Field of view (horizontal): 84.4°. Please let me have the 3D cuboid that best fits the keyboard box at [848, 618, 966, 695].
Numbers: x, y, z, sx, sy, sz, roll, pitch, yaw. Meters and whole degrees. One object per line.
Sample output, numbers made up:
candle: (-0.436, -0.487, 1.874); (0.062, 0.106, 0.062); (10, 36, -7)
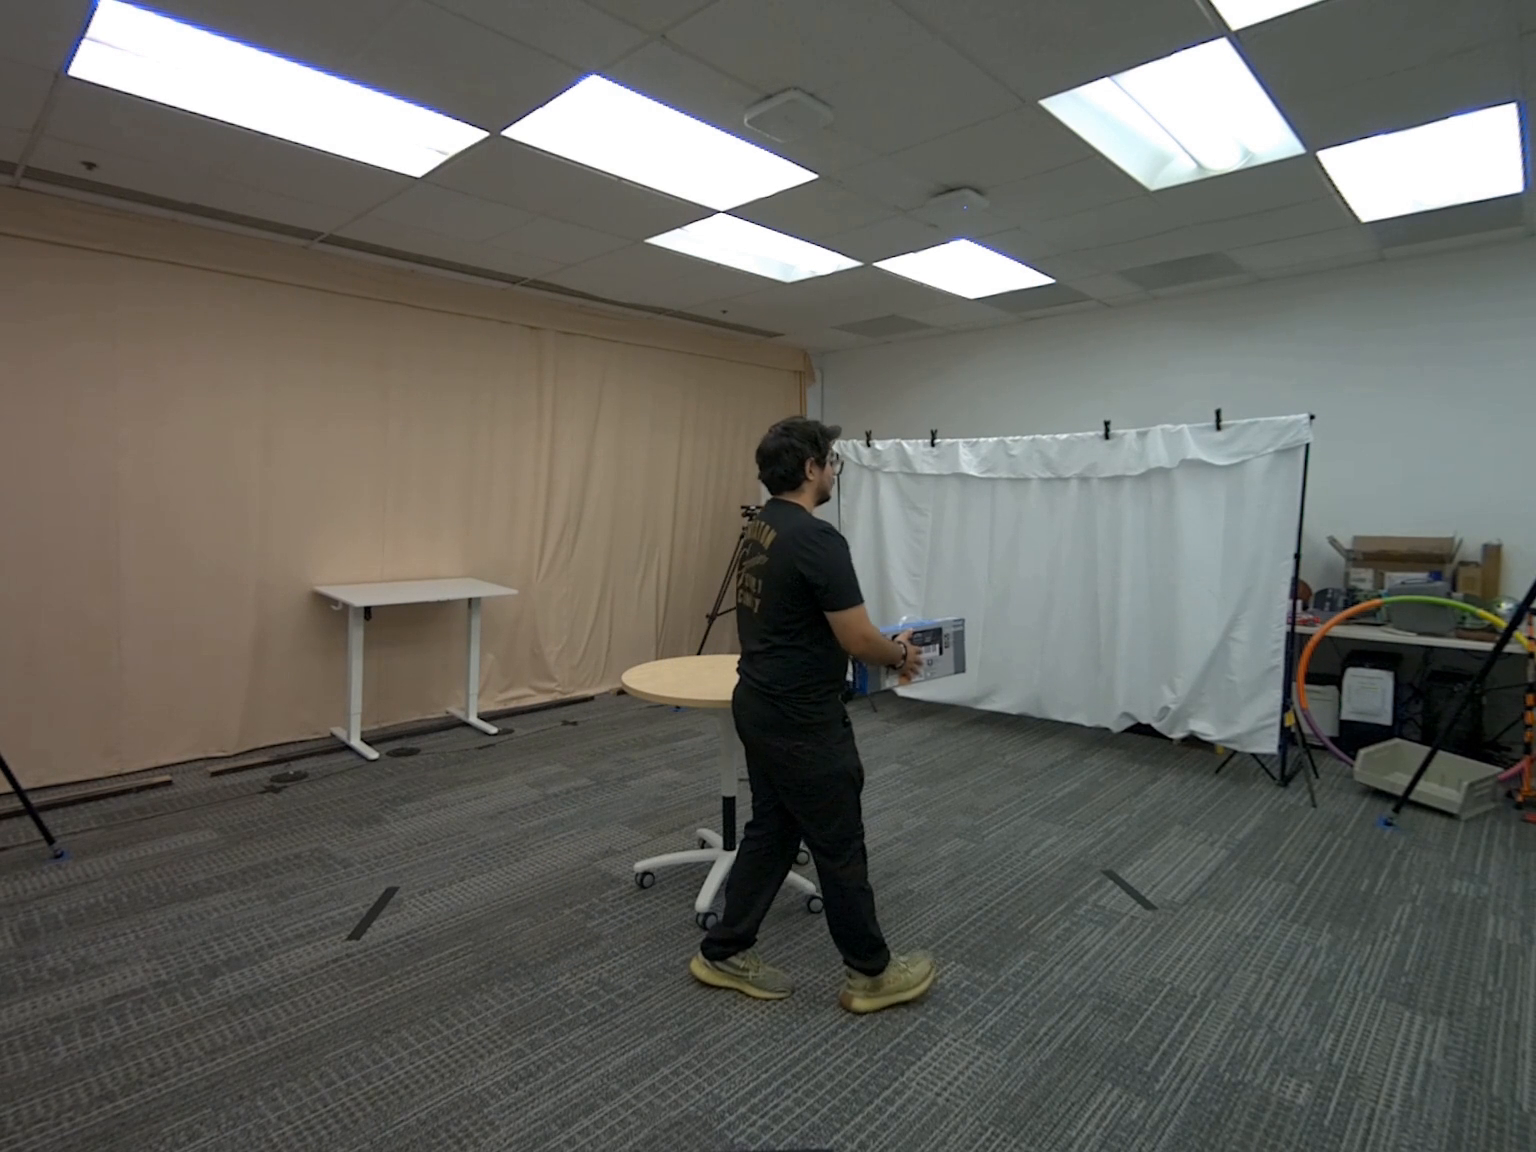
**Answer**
keyboard box: (0.434, 0.231, 2.525); (0.424, 0.175, 0.061); (-5, 5, -36)
